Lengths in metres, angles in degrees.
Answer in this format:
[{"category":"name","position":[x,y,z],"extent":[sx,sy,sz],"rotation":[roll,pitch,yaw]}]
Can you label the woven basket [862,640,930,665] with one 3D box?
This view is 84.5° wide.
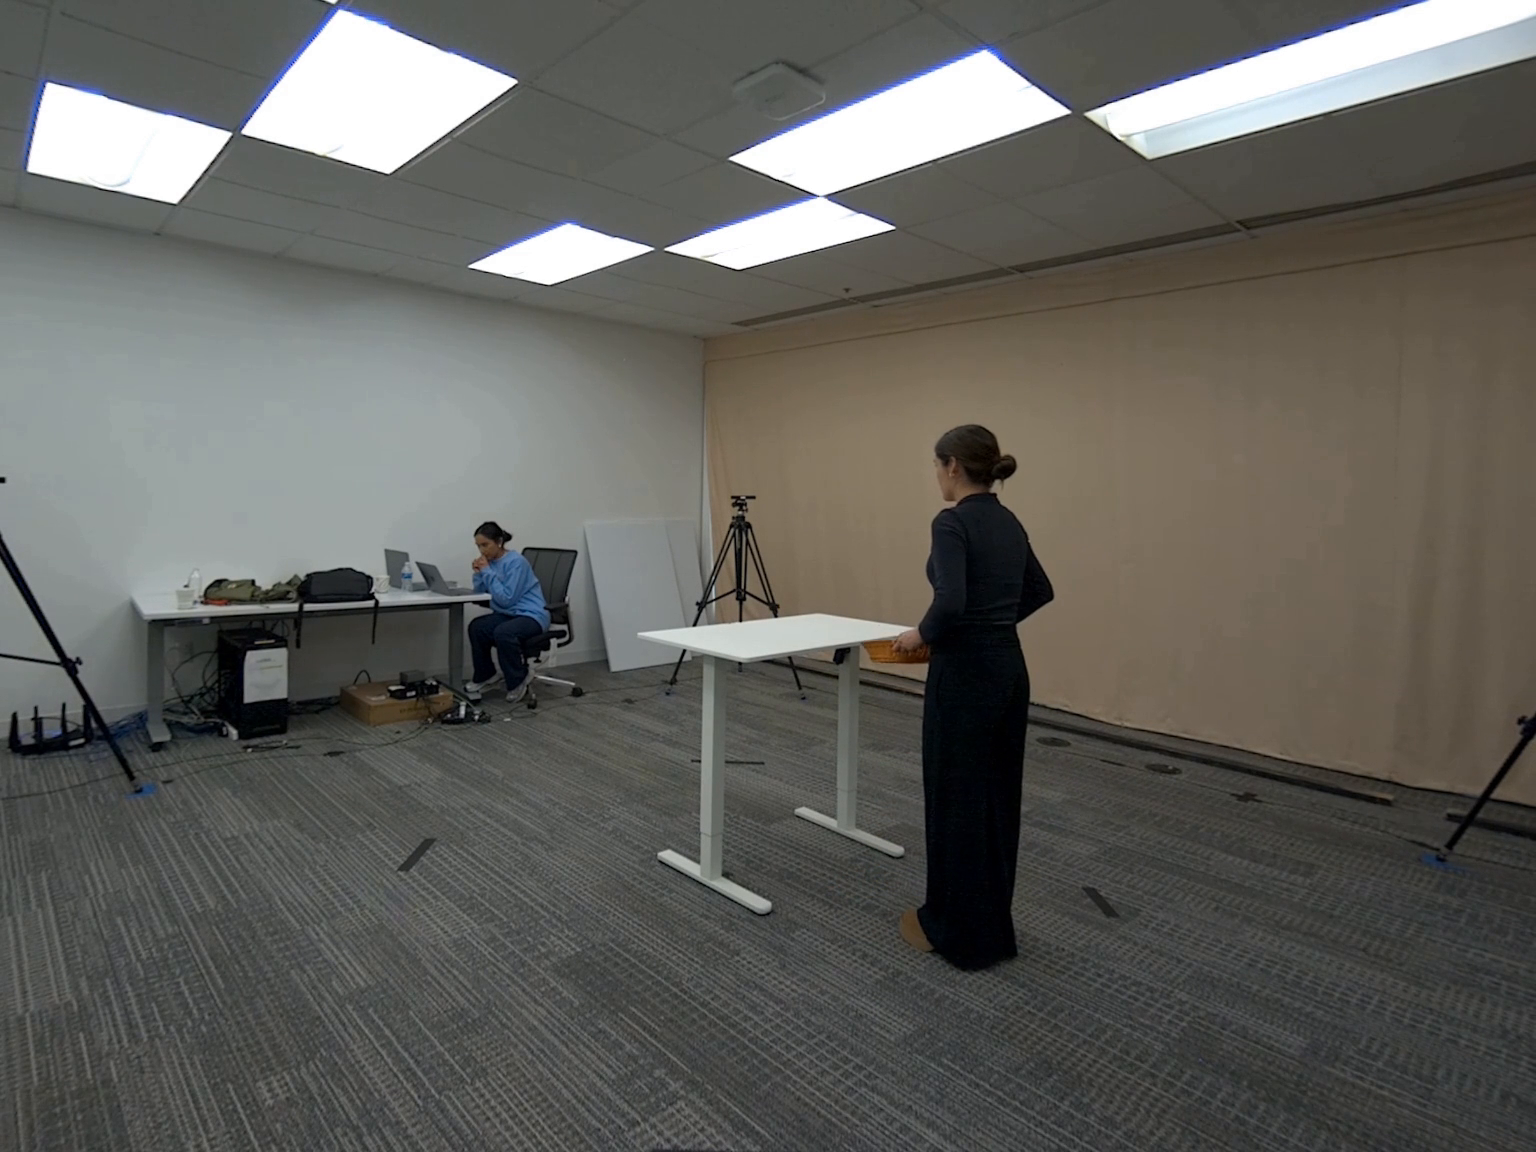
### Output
[{"category":"woven basket","position":[0.475,0.254,2.805],"extent":[0.342,0.074,0.257],"rotation":[4,-8,-38]}]
